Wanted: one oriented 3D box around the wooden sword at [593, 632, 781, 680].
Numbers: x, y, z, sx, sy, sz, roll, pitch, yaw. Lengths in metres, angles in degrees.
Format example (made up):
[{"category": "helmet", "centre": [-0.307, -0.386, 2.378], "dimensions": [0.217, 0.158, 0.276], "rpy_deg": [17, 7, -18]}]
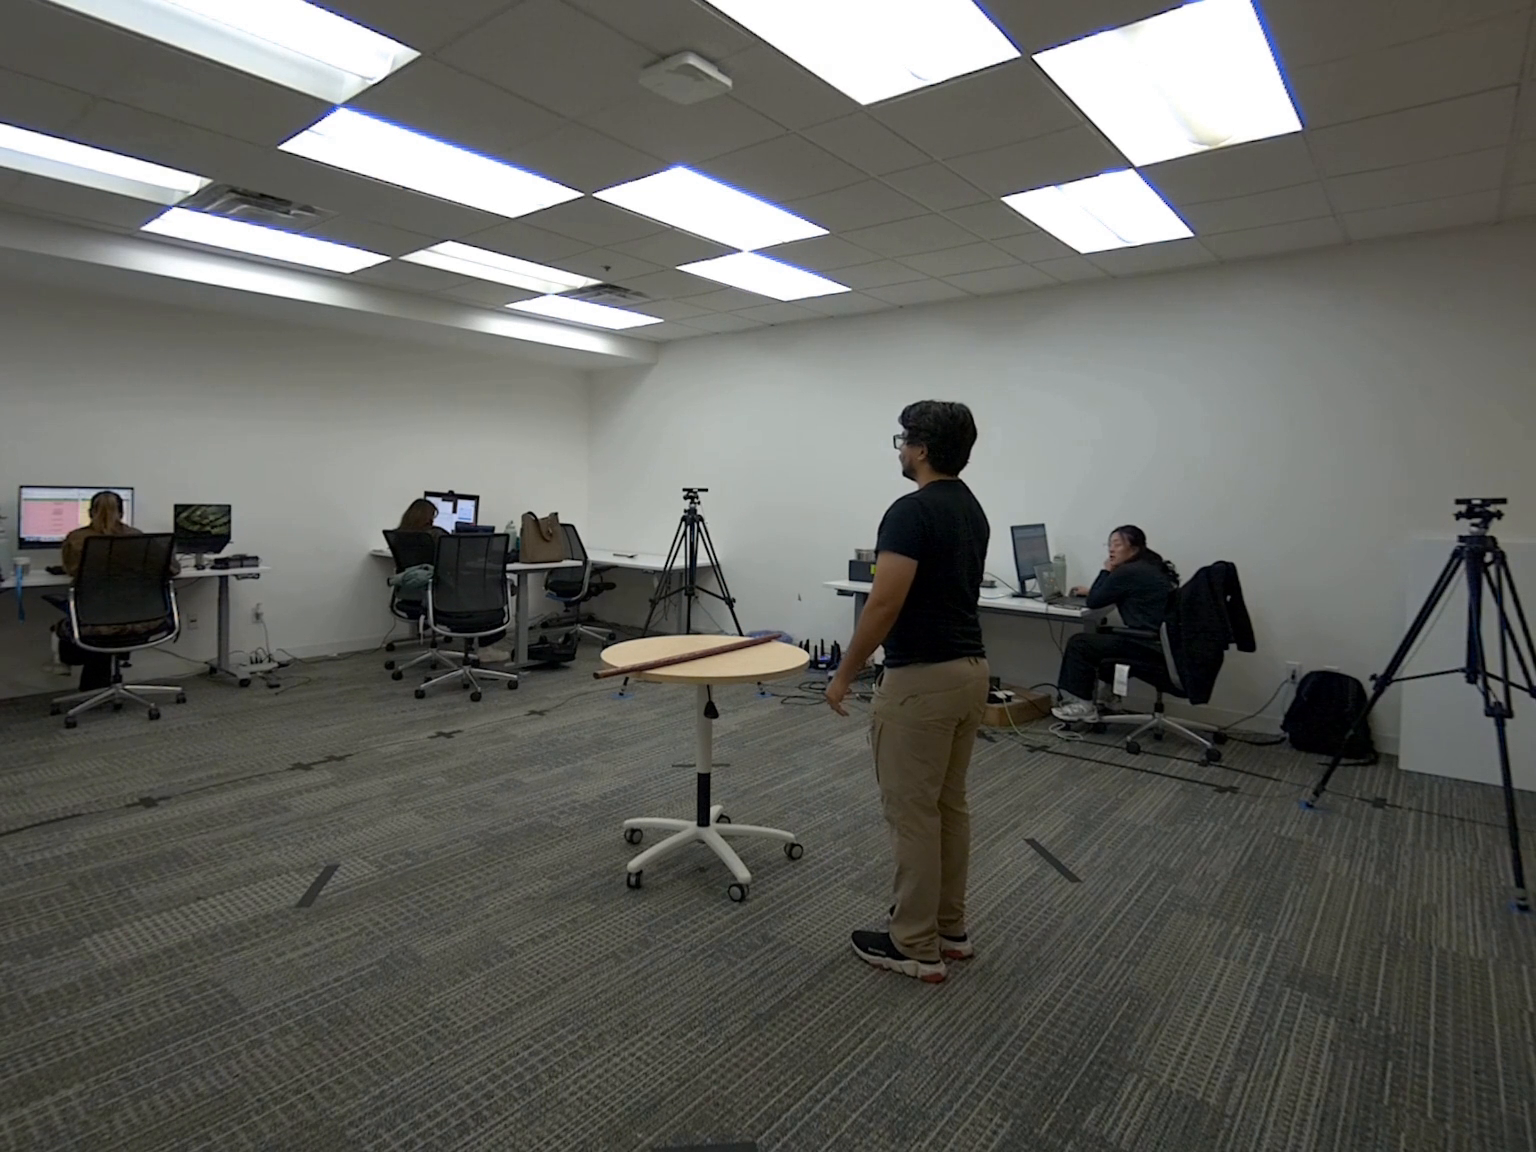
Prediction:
[{"category": "wooden sword", "centre": [-0.261, 0.289, 3.090], "dimensions": [0.024, 0.052, 0.996], "rpy_deg": [-31, -14, 36]}]
